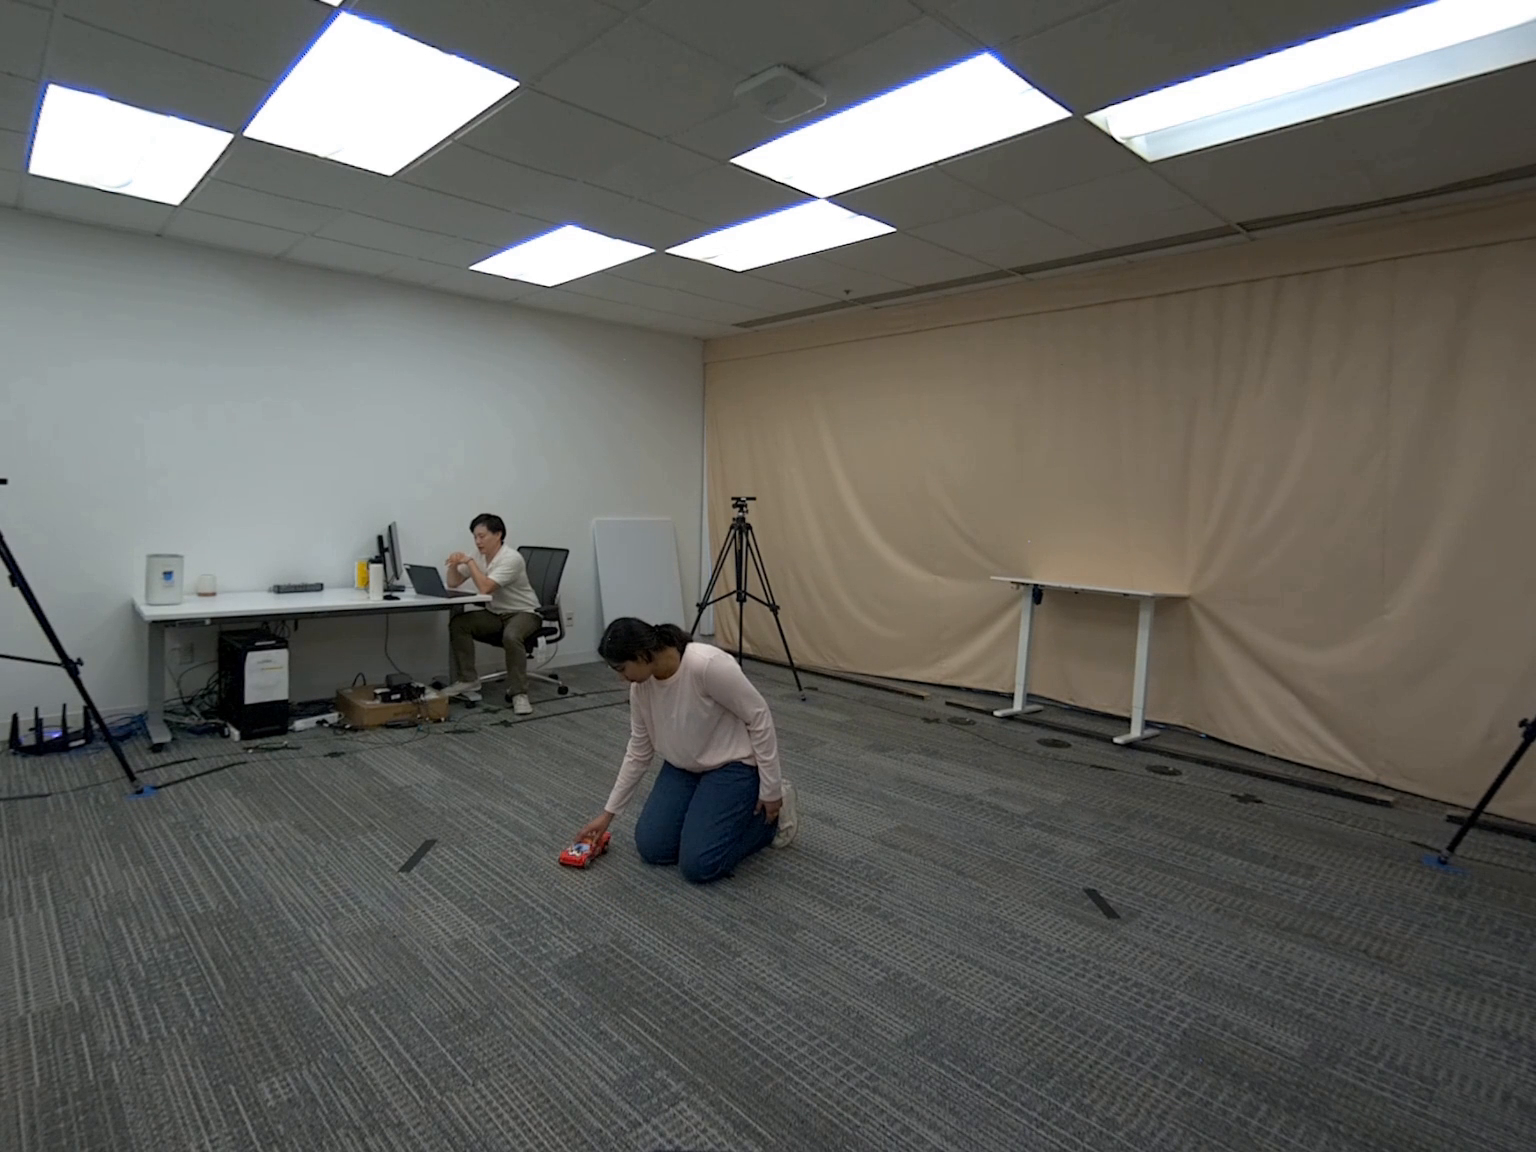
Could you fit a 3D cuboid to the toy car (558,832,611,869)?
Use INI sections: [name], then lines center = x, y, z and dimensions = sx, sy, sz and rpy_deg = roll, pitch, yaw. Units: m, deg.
[toy car]
center = -0.697, 1.047, 3.242
dimensions = 0.132, 0.082, 0.253
rpy_deg = 2, 16, 18
